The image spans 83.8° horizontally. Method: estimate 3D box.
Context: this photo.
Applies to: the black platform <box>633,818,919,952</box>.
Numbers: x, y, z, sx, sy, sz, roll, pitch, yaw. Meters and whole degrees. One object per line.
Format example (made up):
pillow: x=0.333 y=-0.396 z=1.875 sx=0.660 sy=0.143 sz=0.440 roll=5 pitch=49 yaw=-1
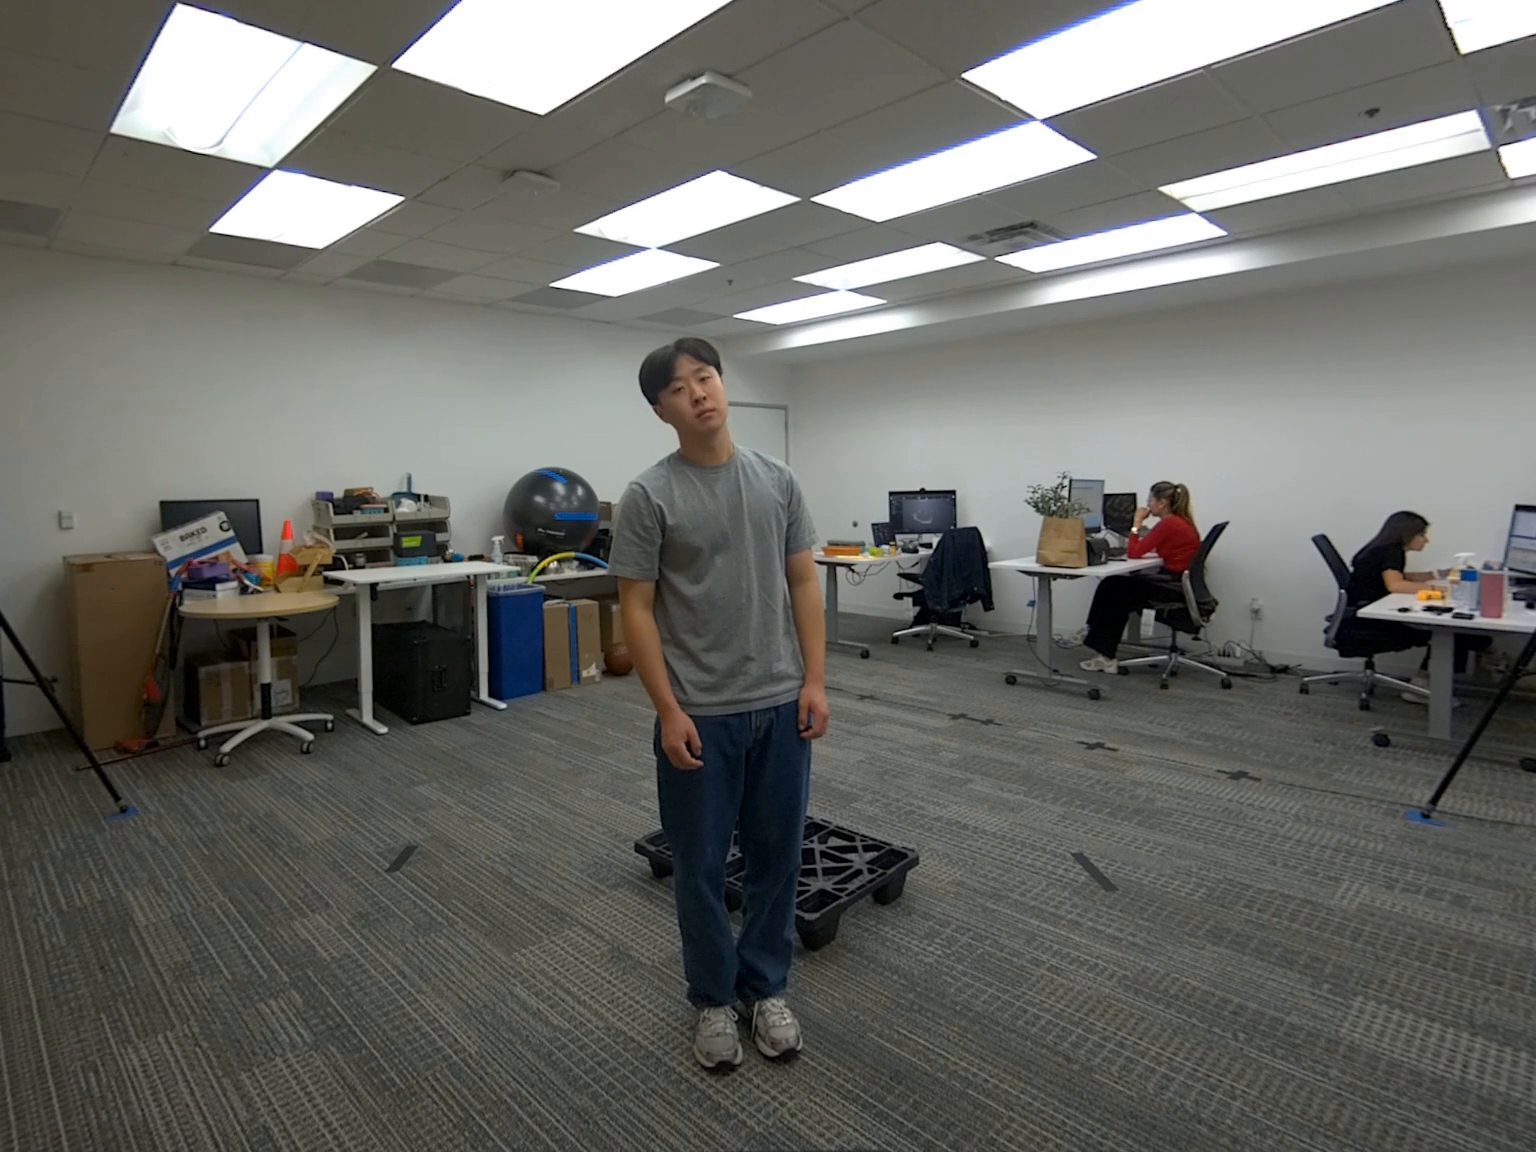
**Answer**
black platform: x=0.023 y=0.997 z=2.929 sx=0.830 sy=0.142 sz=0.590 roll=5 pitch=9 yaw=43
